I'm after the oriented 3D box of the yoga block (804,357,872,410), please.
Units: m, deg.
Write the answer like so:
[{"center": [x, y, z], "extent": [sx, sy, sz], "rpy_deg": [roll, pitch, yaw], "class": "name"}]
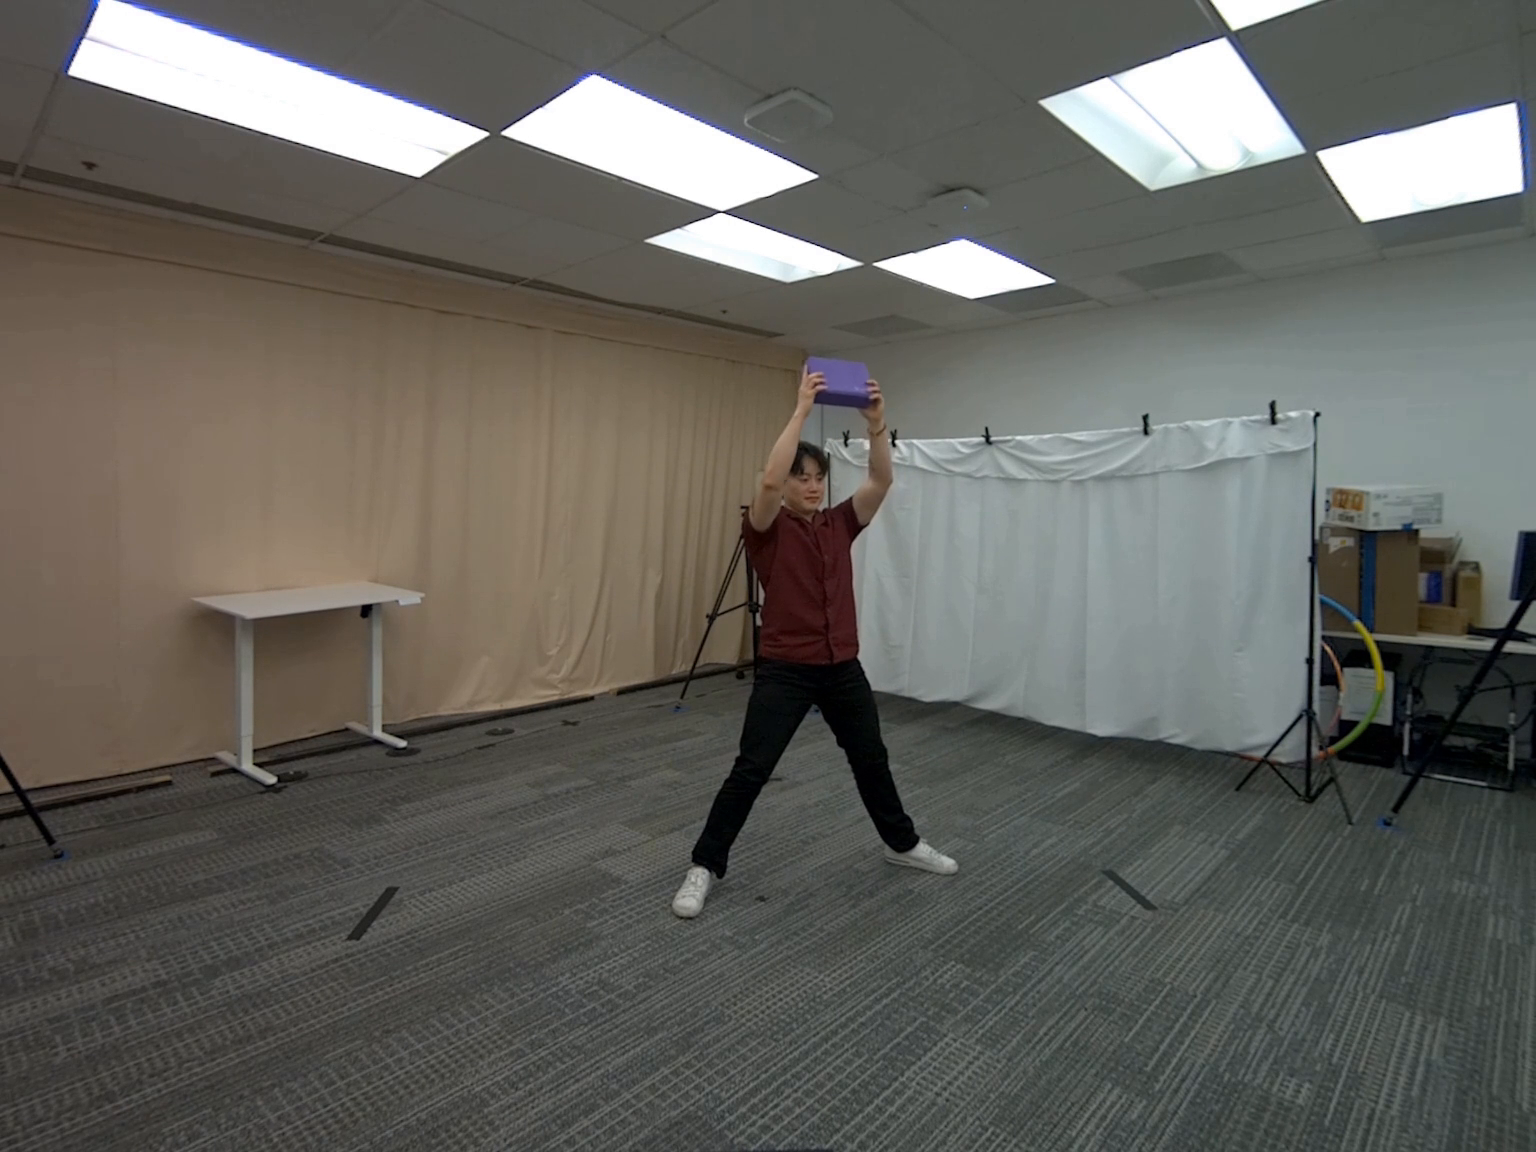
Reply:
[{"center": [0.251, -0.646, 2.848], "extent": [0.224, 0.152, 0.077], "rpy_deg": [0, -26, -23], "class": "yoga block"}]
